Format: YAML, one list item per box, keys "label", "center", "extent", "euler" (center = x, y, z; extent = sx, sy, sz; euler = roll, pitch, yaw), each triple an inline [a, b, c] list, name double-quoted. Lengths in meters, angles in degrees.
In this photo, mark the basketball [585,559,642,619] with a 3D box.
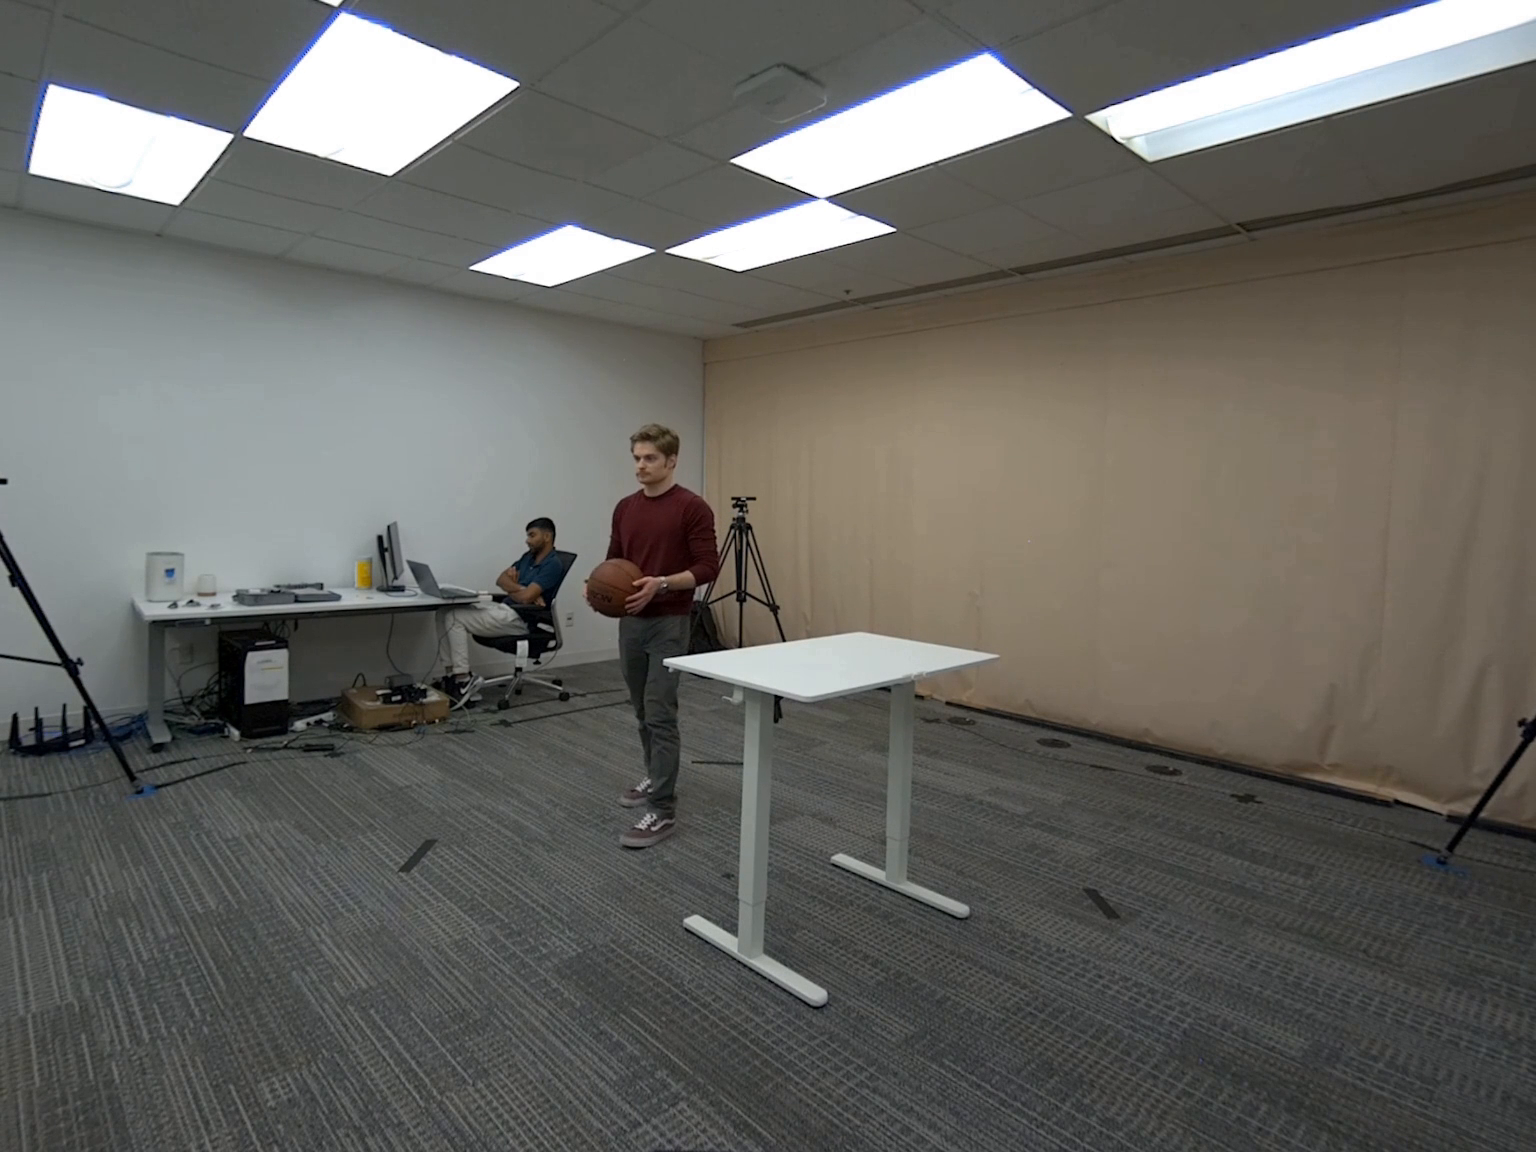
- label: "basketball"
  center: [-0.637, 0.048, 3.400]
  extent: [0.236, 0.235, 0.237]
  euler: [1, 4, -1]
